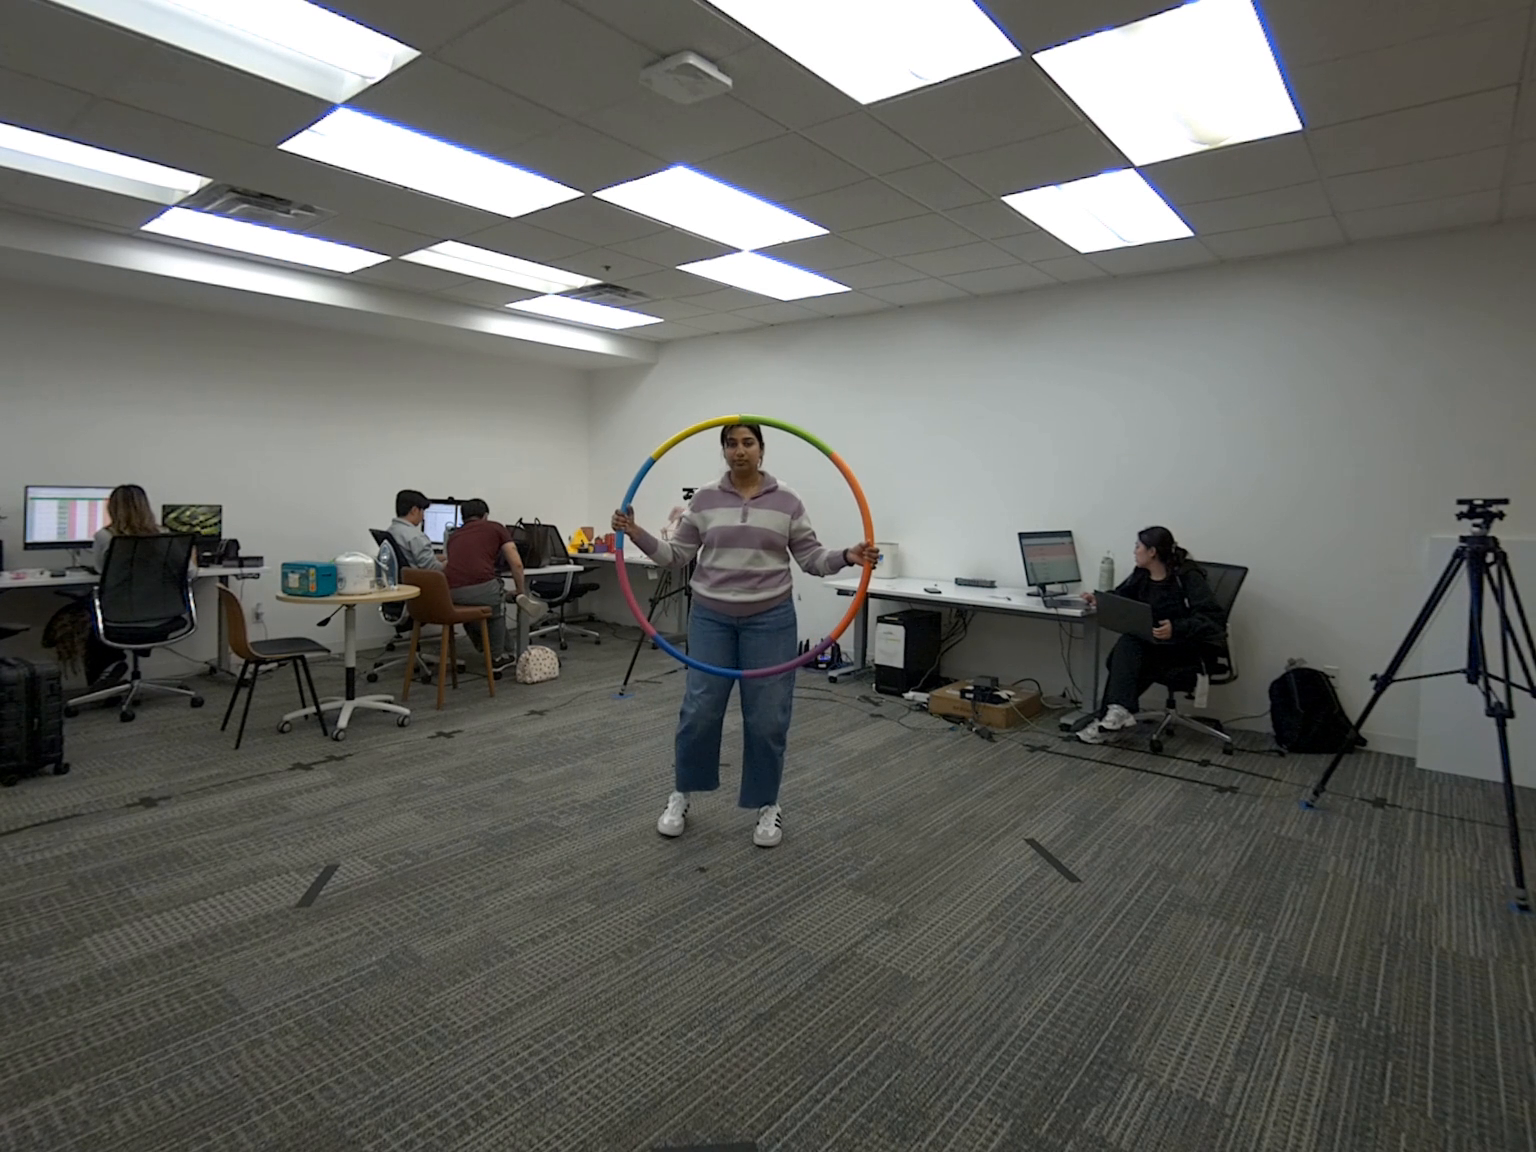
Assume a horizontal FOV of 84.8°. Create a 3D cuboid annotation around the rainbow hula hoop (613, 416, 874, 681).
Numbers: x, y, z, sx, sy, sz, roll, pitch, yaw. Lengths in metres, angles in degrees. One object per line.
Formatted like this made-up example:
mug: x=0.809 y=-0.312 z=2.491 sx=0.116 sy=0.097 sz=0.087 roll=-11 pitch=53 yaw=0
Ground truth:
rainbow hula hoop: x=-0.119 y=-0.112 z=3.197 sx=0.987 sy=0.979 sz=0.035 roll=1 pitch=0 yaw=8
